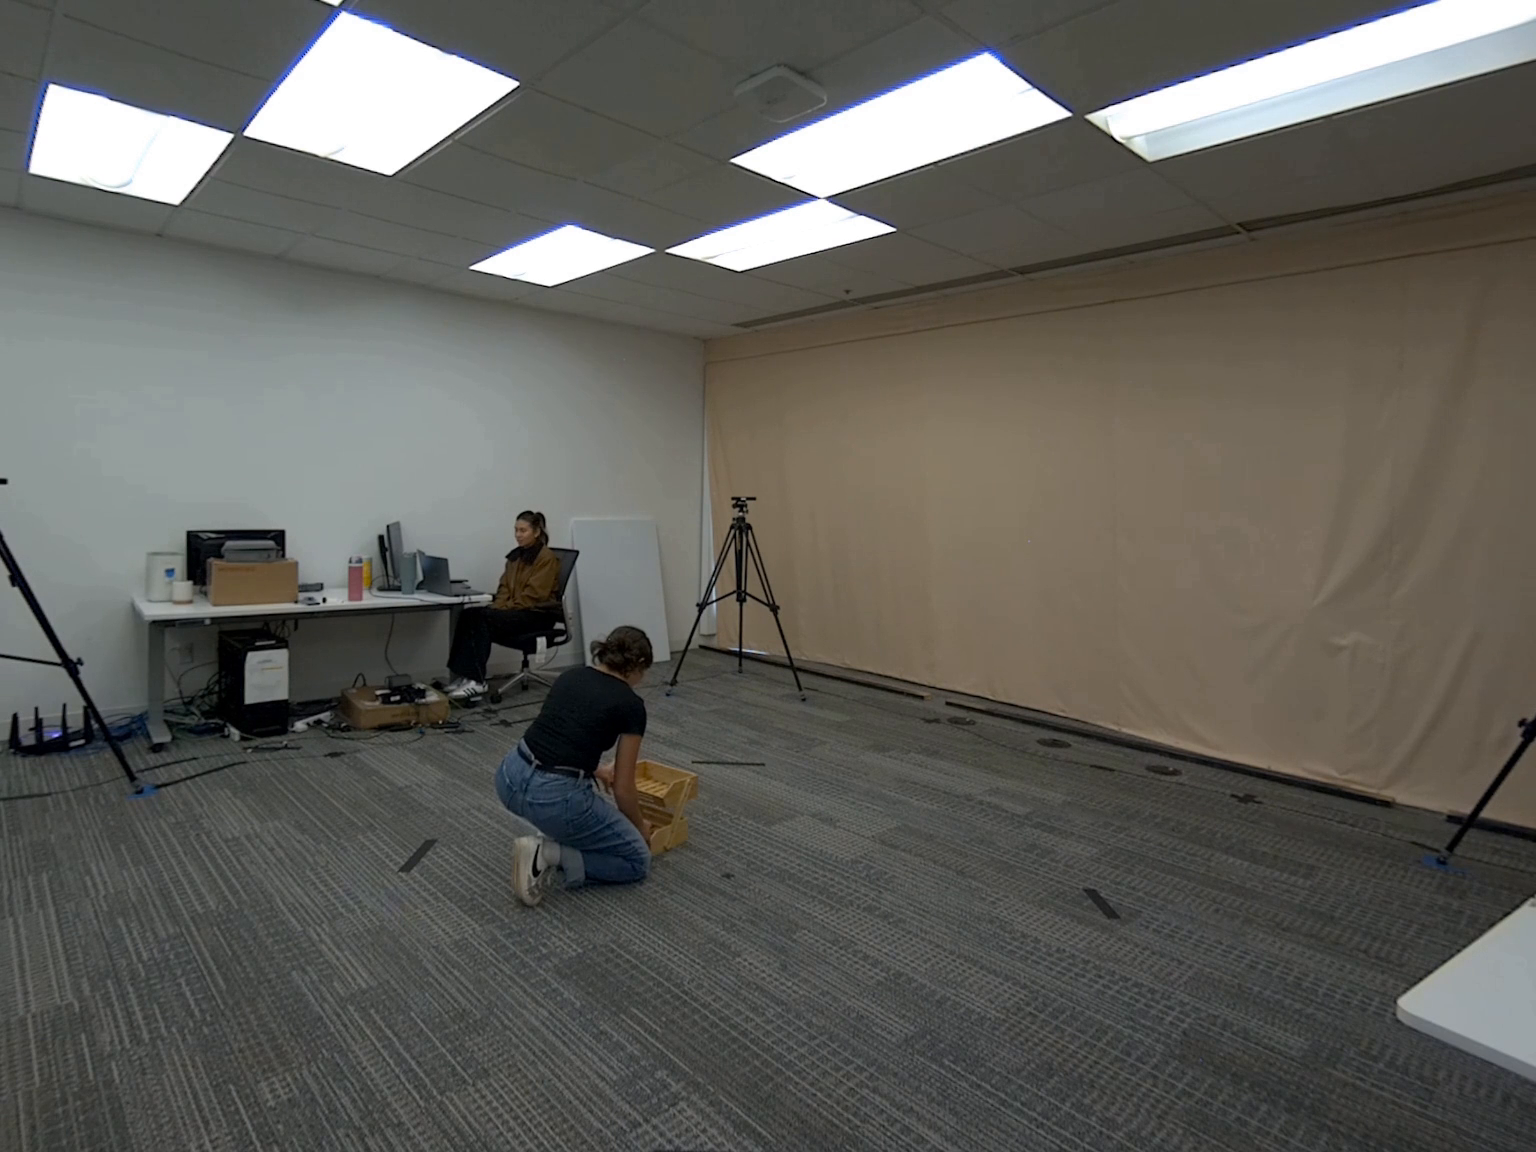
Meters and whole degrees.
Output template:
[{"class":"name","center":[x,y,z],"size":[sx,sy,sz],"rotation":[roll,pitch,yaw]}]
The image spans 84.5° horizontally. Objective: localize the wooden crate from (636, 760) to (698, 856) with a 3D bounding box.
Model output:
[{"class":"wooden crate","center":[-0.511,0.935,3.428],"size":[0.332,0.273,0.295],"rotation":[4,4,38]}]
